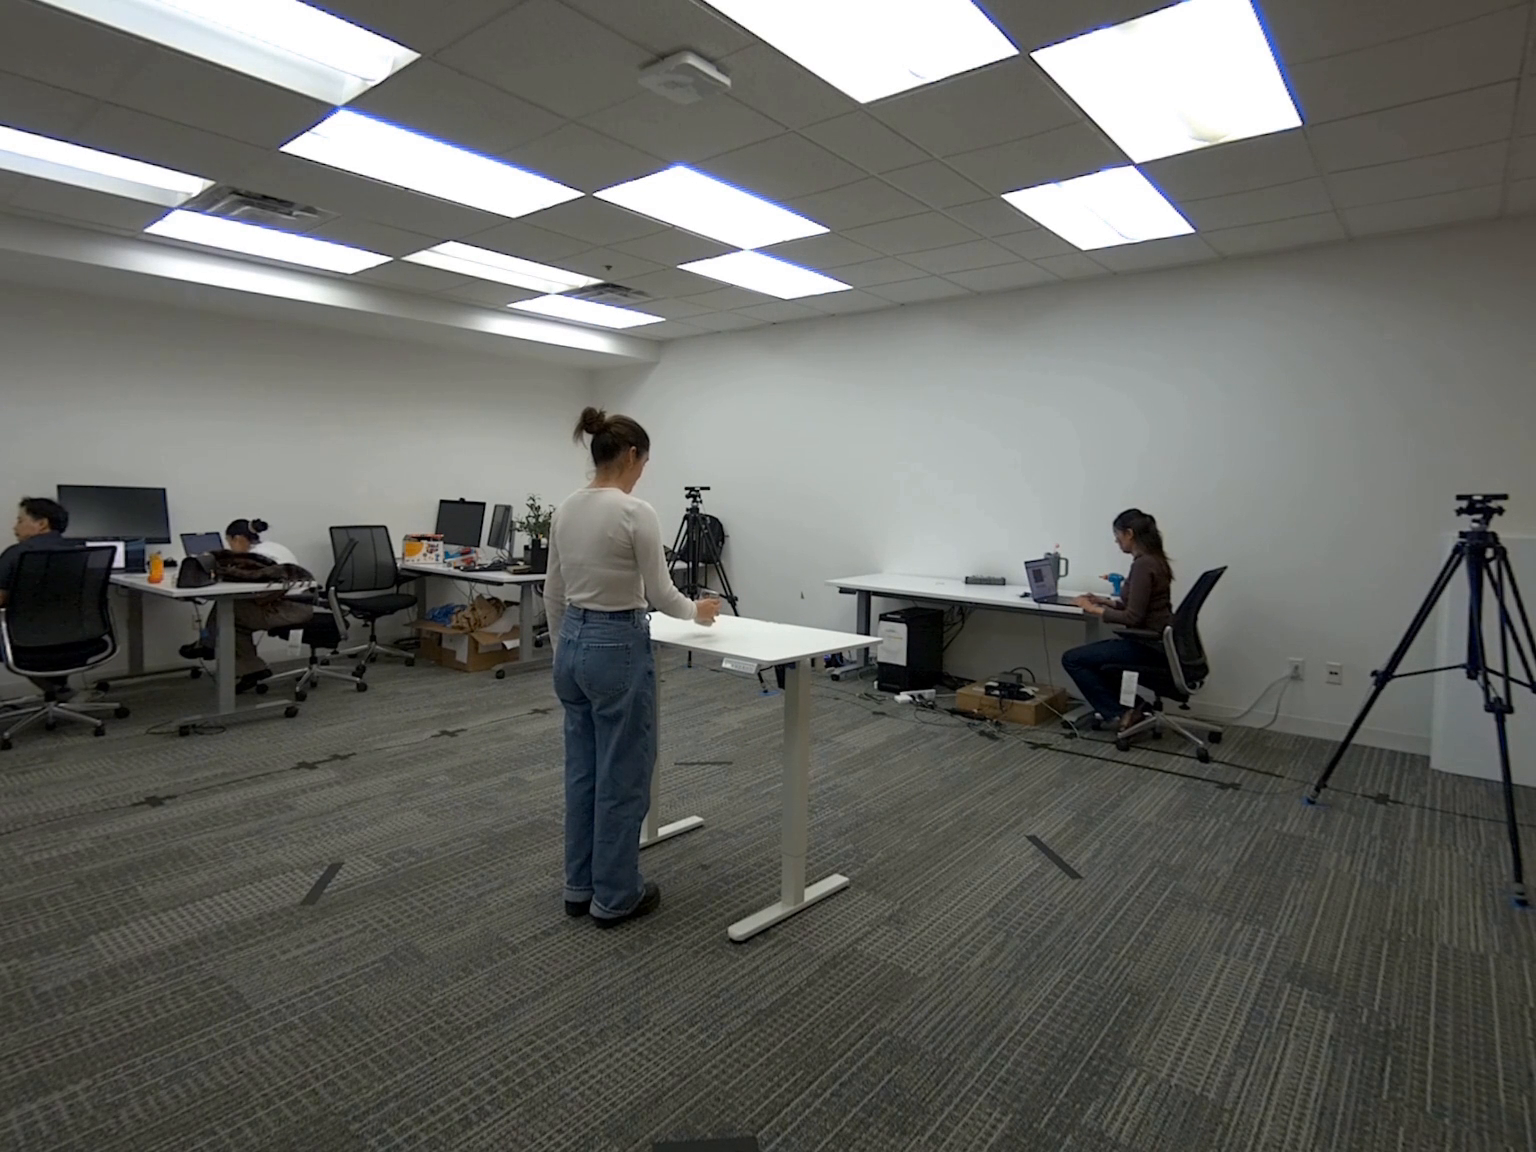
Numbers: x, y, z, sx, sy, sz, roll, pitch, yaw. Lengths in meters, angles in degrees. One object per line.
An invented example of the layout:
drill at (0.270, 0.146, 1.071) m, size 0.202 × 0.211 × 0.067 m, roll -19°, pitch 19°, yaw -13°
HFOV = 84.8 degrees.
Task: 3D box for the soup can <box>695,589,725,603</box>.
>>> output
soup can at (-0.220, 0.104, 2.915) m, size 0.067 × 0.121 × 0.067 m, roll 10°, pitch 2°, yaw -2°
